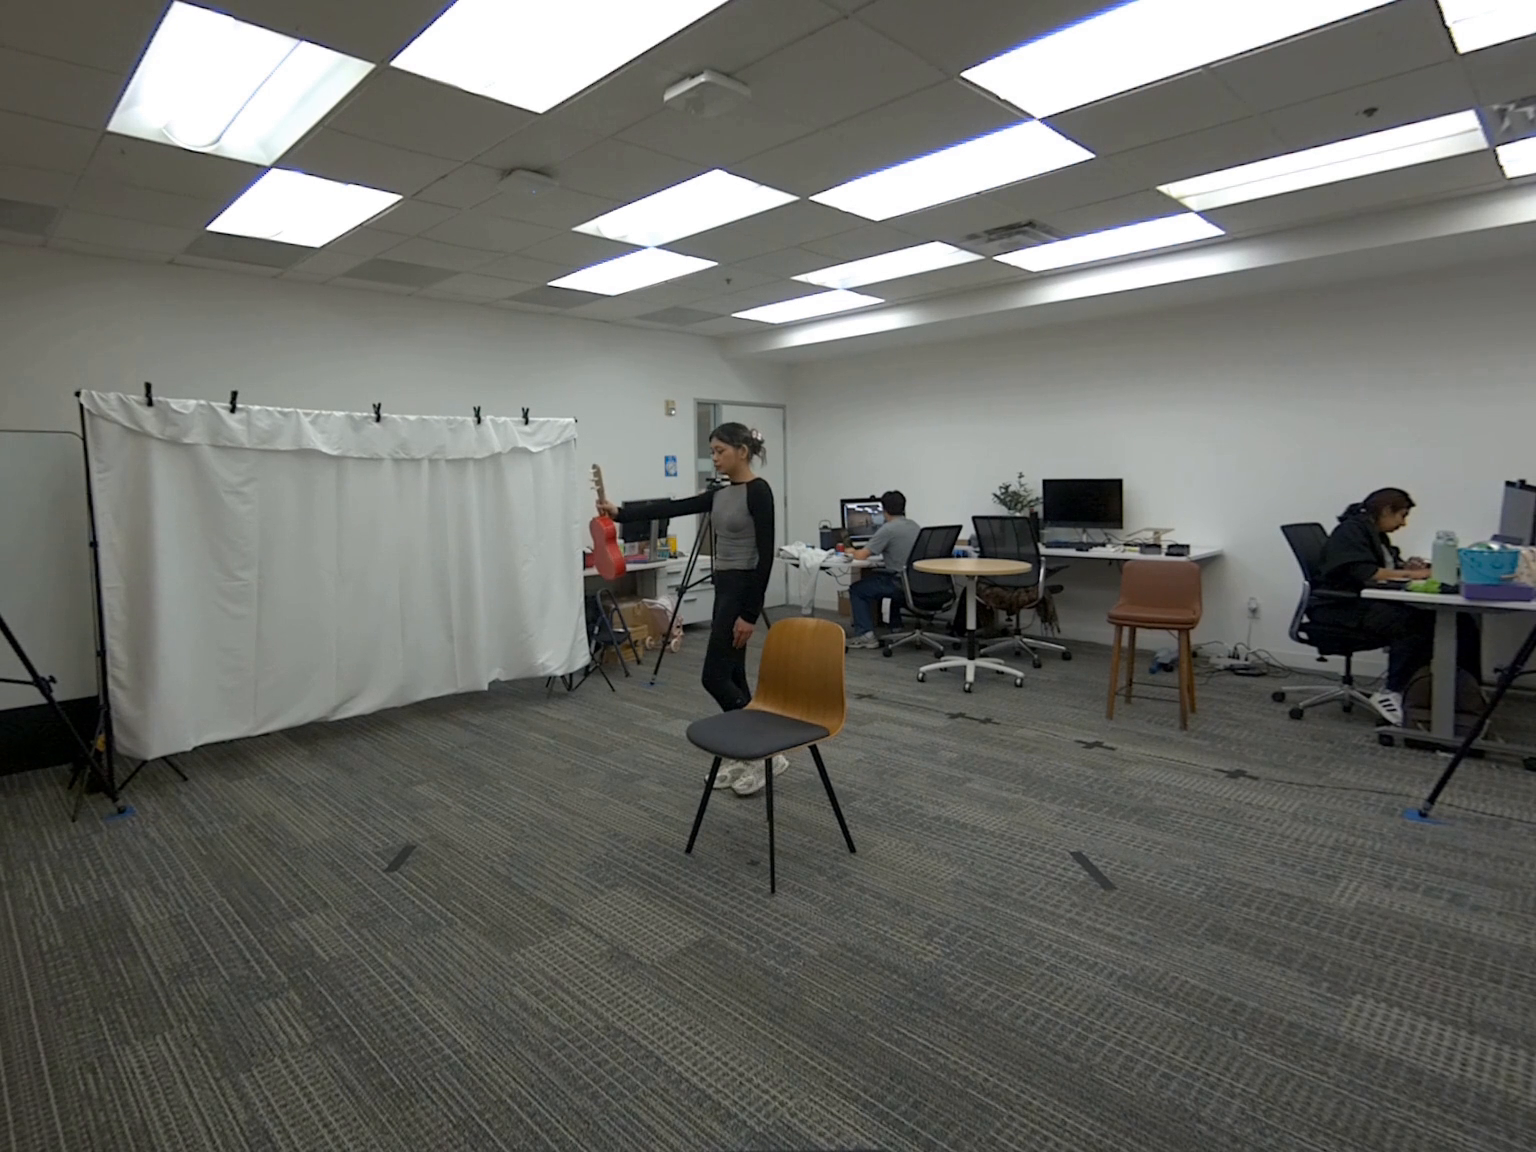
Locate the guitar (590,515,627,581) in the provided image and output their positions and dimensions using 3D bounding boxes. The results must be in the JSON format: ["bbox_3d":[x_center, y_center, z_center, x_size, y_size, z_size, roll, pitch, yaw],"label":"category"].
[{"bbox_3d":[-0.724,-0.229,3.702,0.069,0.495,0.197,-15,5,-31],"label":"guitar"}]
